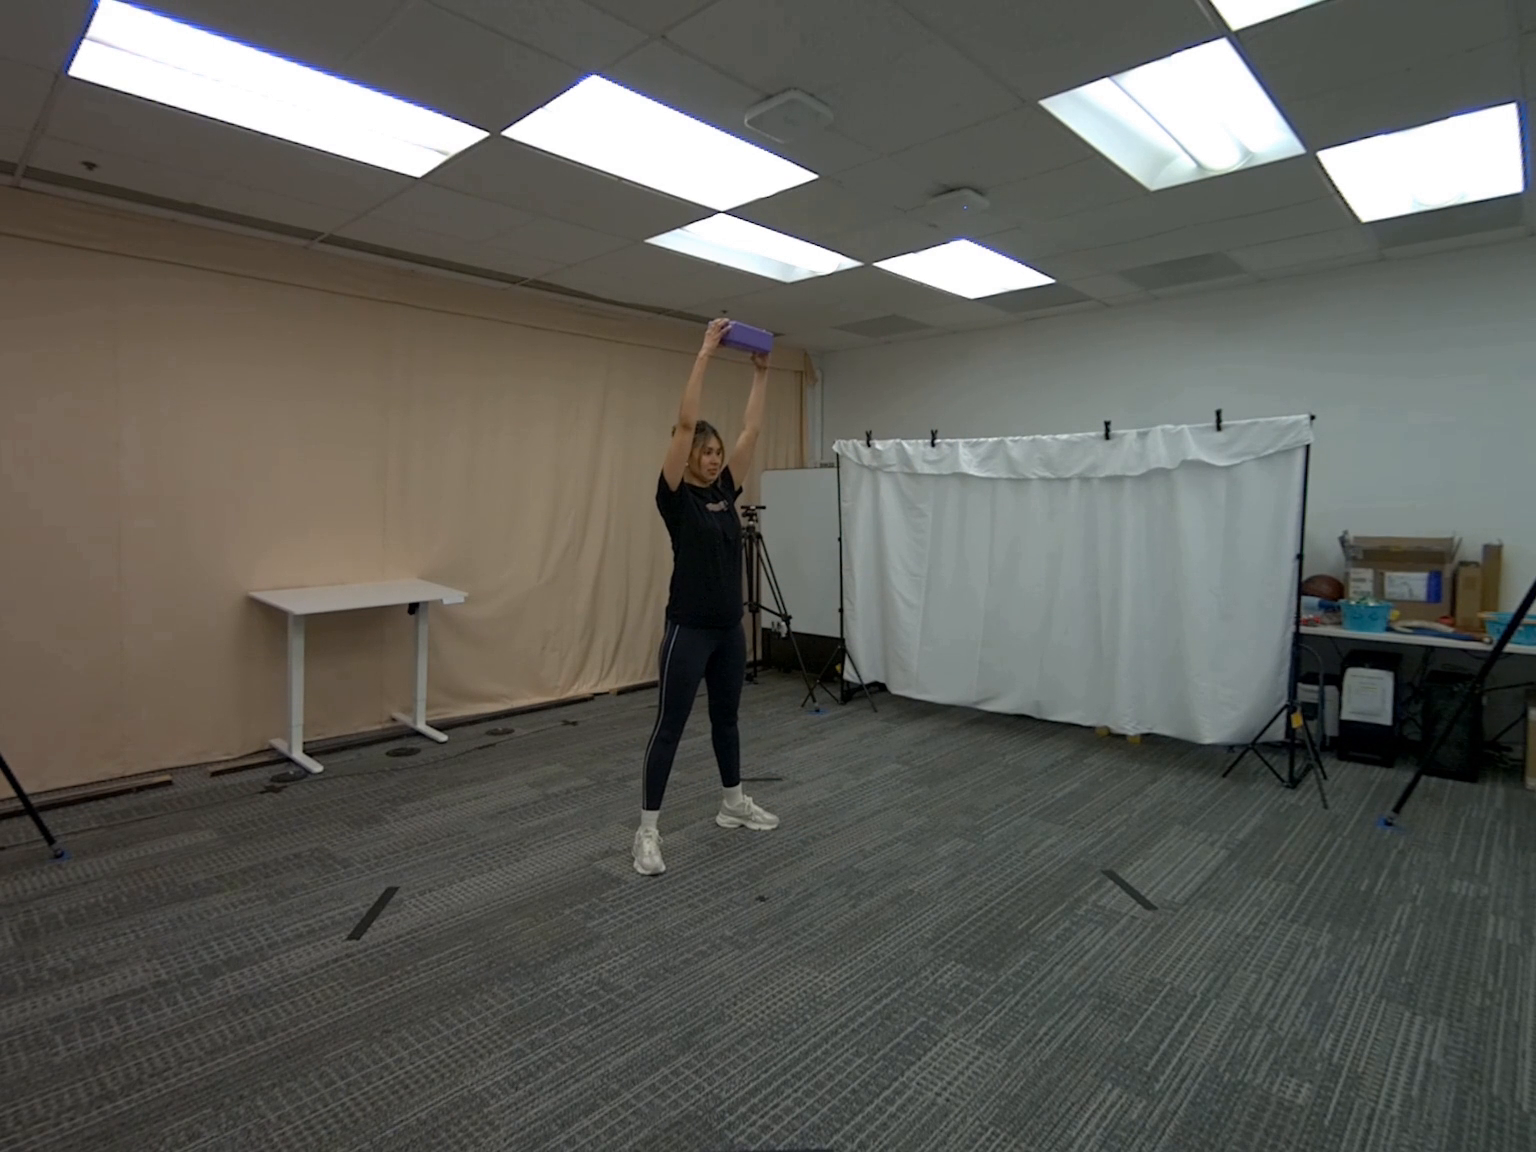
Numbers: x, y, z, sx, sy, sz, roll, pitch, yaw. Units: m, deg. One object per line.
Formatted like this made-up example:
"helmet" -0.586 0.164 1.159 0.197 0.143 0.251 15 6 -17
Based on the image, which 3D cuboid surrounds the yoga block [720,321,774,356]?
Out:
"yoga block" -0.100 -0.916 3.247 0.154 0.076 0.222 18 11 41
